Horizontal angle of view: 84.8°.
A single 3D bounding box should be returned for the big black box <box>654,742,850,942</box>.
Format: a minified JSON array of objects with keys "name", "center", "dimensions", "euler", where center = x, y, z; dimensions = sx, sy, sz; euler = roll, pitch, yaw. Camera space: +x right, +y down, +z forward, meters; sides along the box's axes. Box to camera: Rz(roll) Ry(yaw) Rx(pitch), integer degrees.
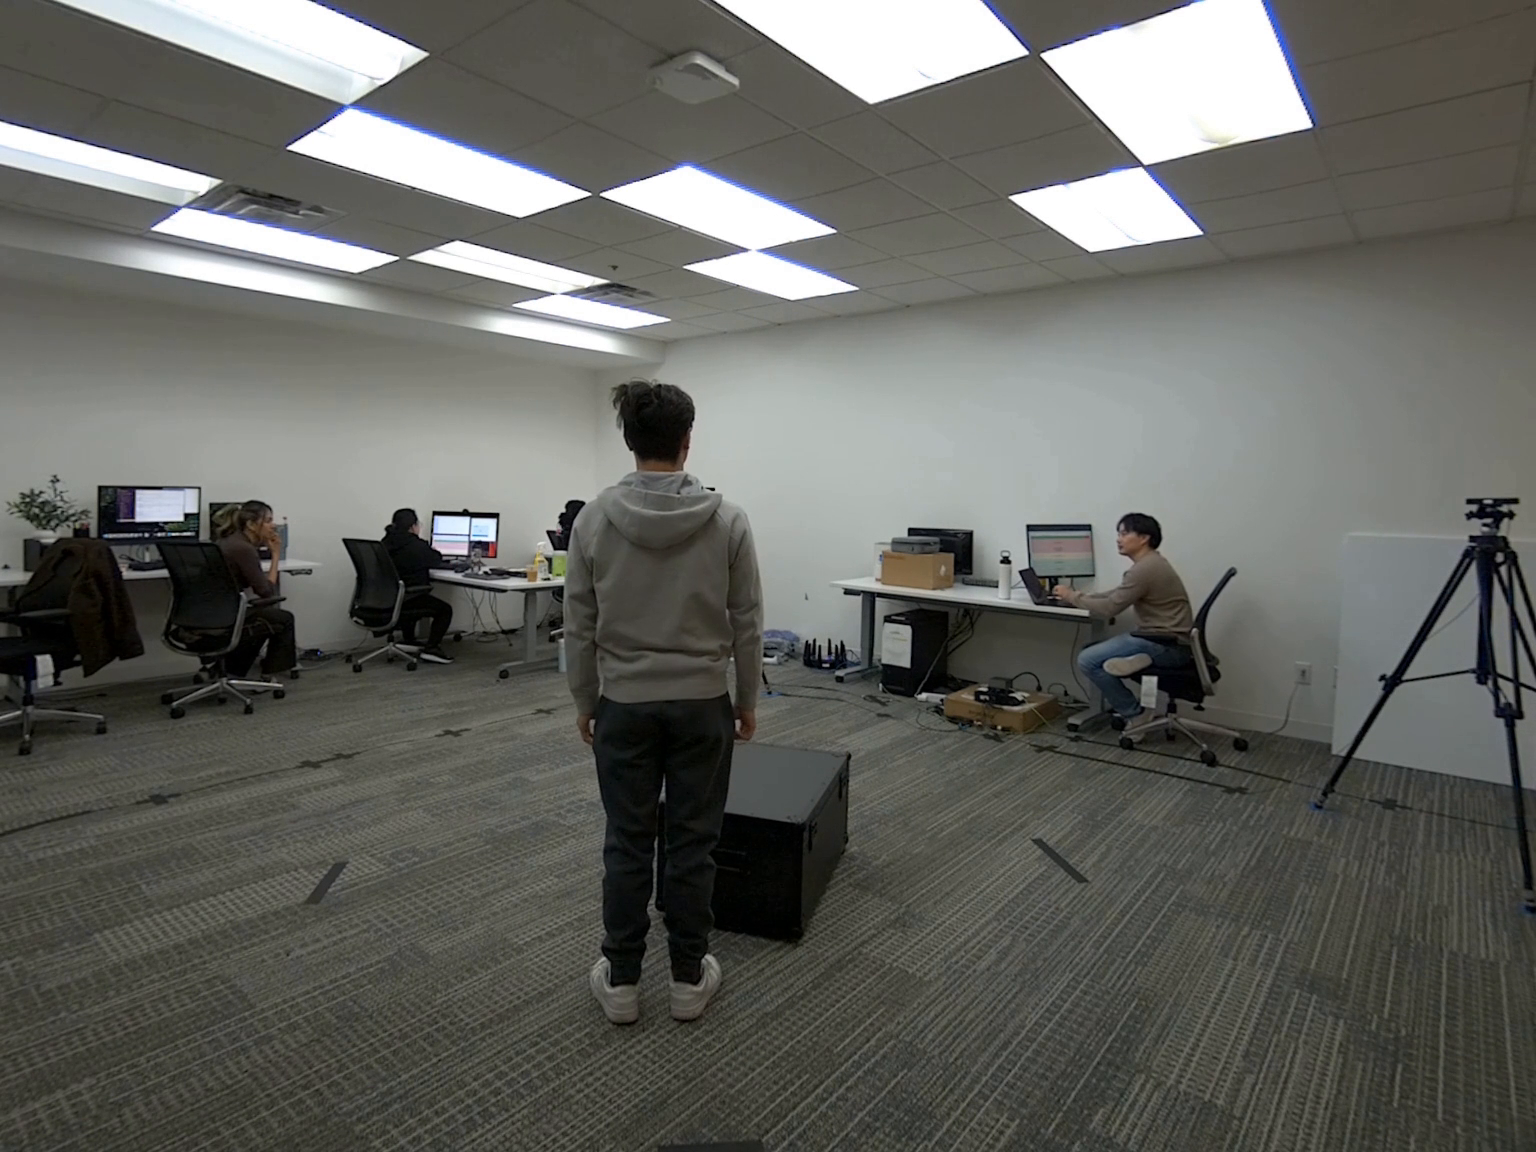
[{"name":"big black box","center":[-0.040,0.890,2.992],"dimensions":[0.531,0.395,0.848],"euler":[2,4,17]}]
